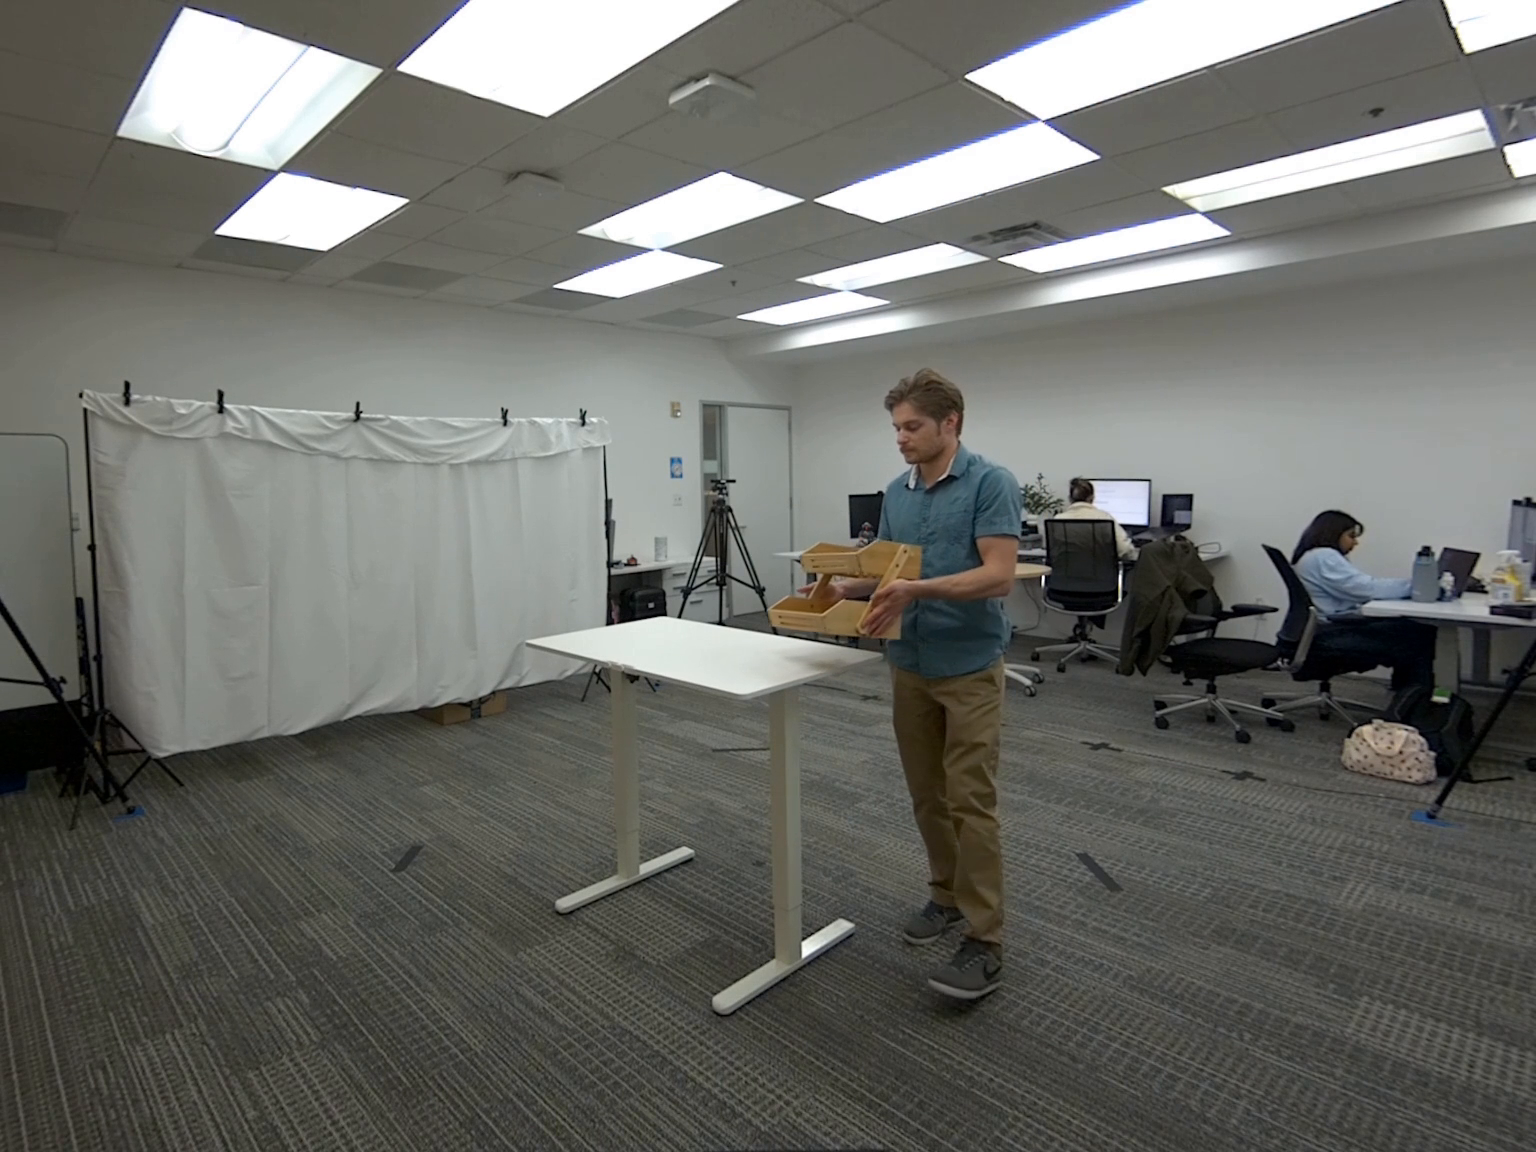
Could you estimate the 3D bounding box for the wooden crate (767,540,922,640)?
[{"bbox_3d":[0.218,0.027,2.398,0.294,0.274,0.331,8,-4,-26],"label":"wooden crate"}]
